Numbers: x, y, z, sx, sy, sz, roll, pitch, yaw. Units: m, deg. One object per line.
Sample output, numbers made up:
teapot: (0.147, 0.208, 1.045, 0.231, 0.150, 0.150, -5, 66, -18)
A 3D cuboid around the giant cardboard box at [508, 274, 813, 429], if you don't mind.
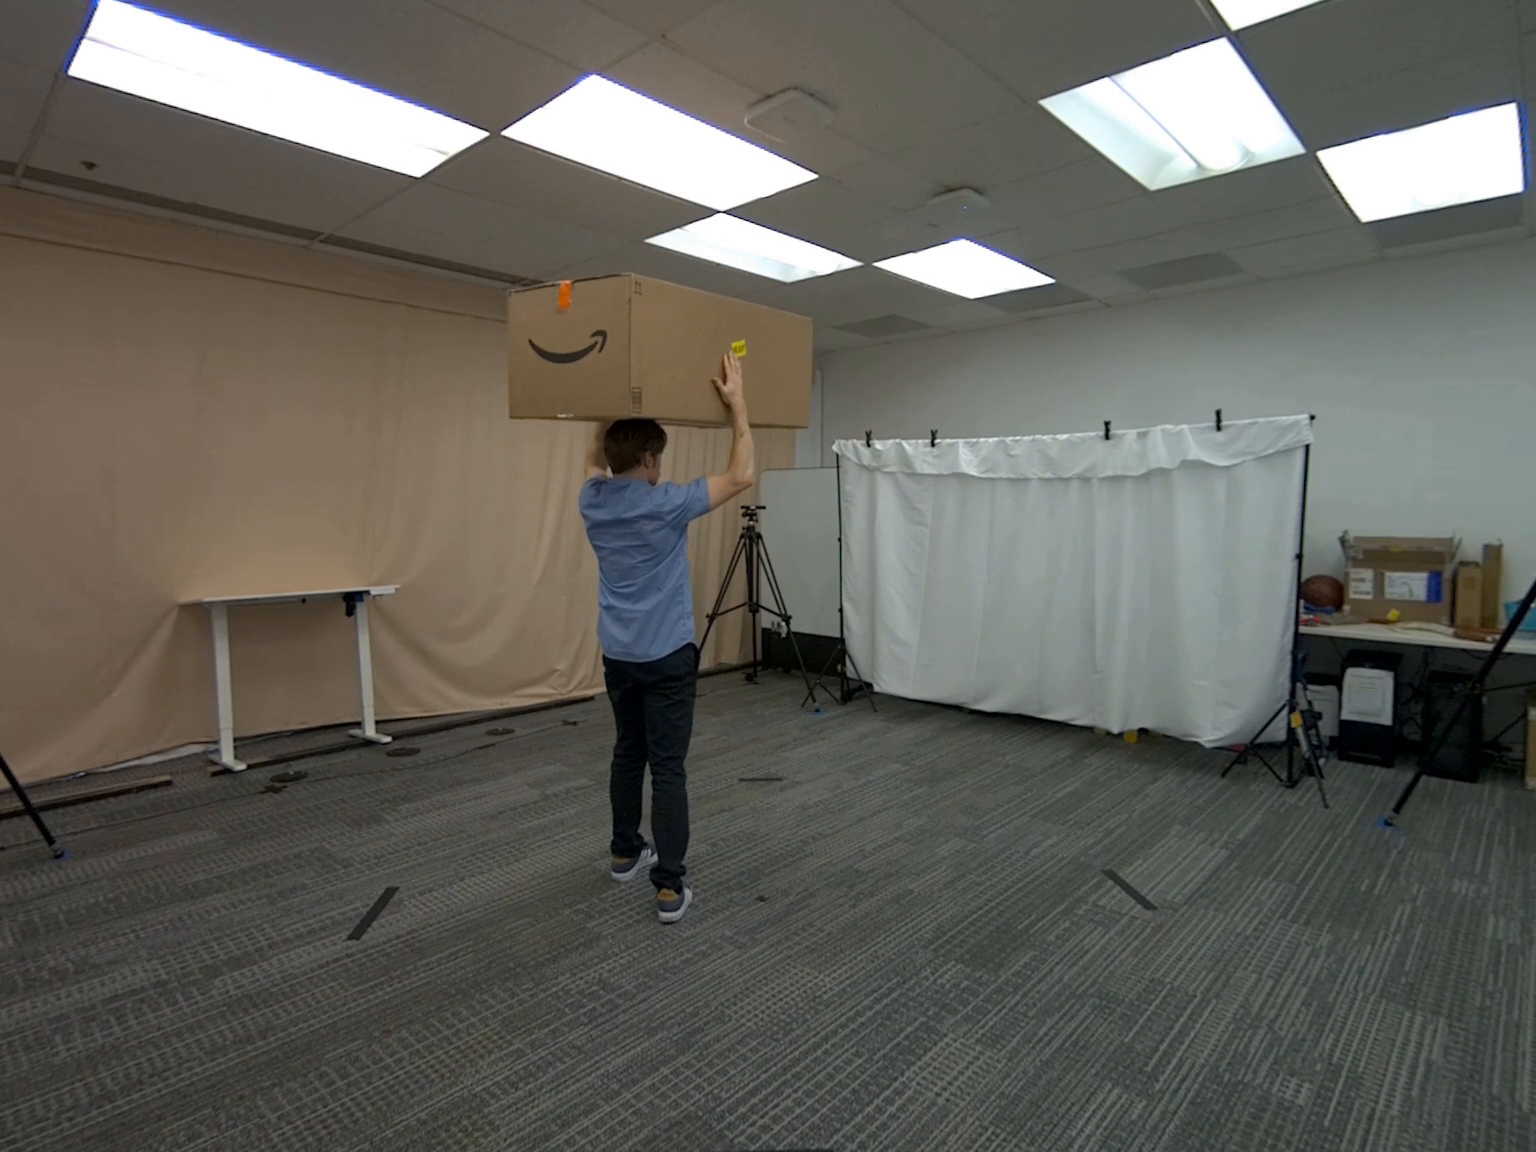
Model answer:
giant cardboard box: (-0.349, -0.768, 3.065, 0.597, 0.424, 0.997, 7, 10, 36)
